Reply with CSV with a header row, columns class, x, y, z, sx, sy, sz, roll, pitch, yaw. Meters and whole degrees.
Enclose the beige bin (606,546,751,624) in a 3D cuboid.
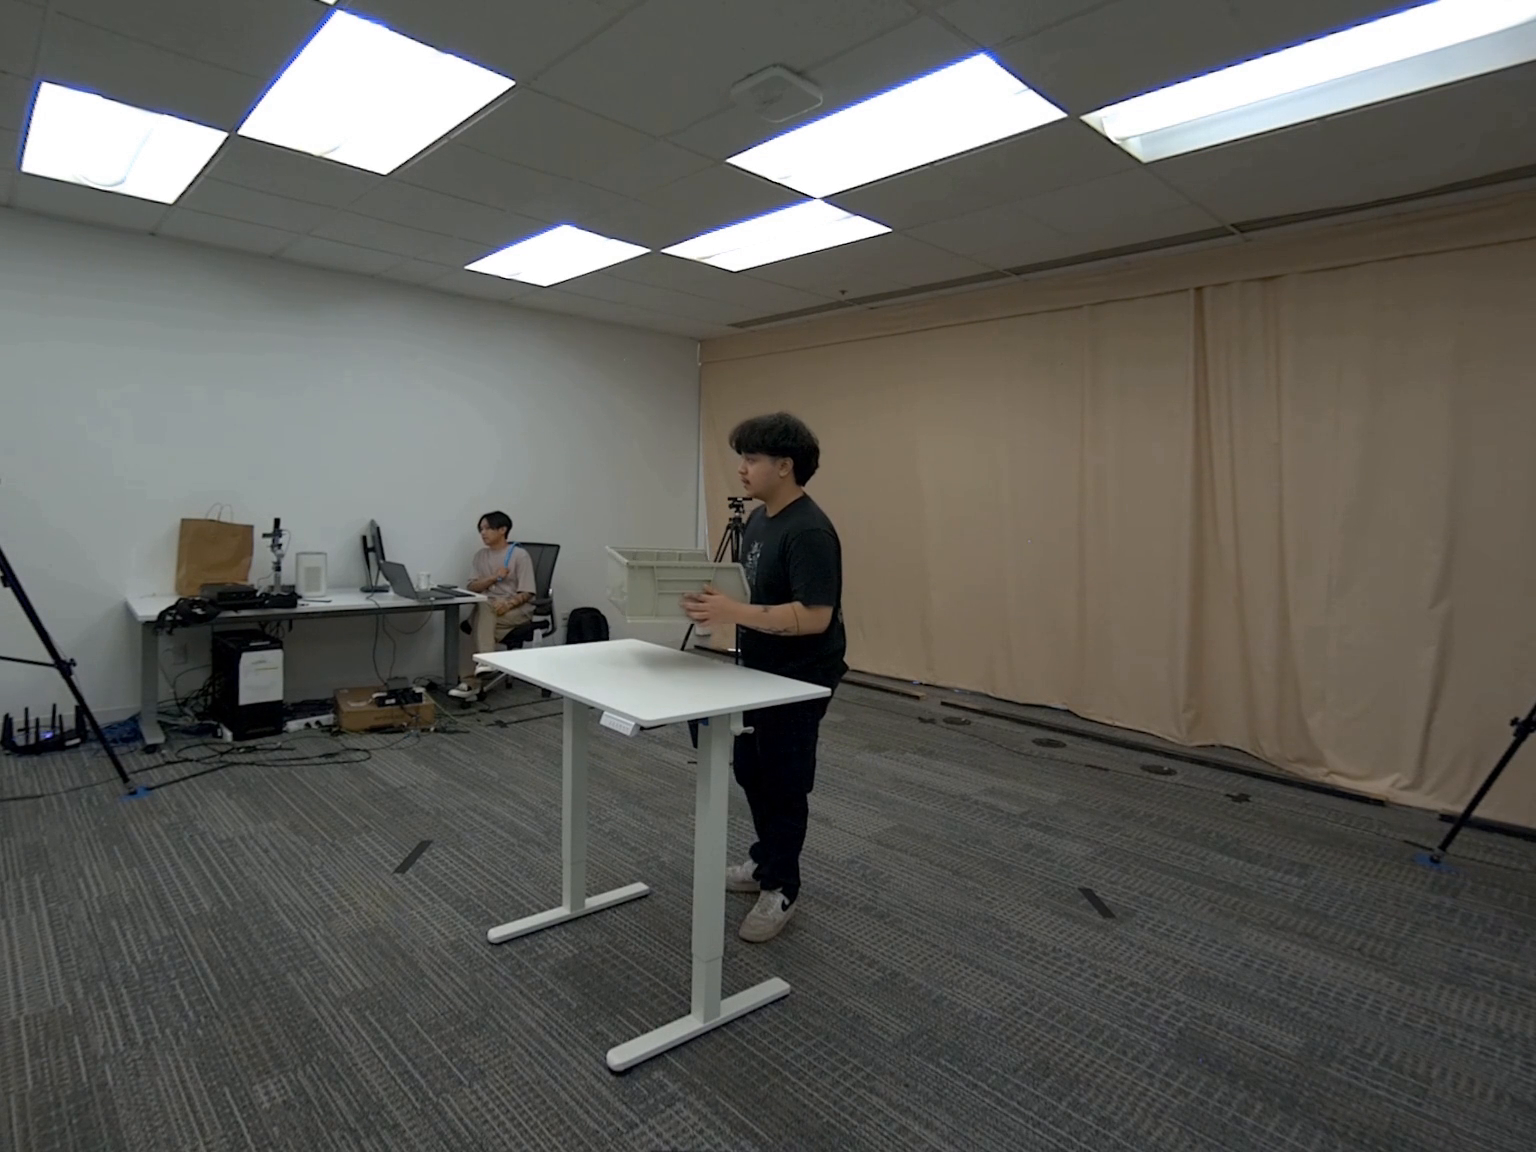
class,x,y,z,sx,sy,sz,roll,pitch,yaw
beige bin,-0.305,0.023,2.637,0.372,0.188,0.430,1,7,-17
